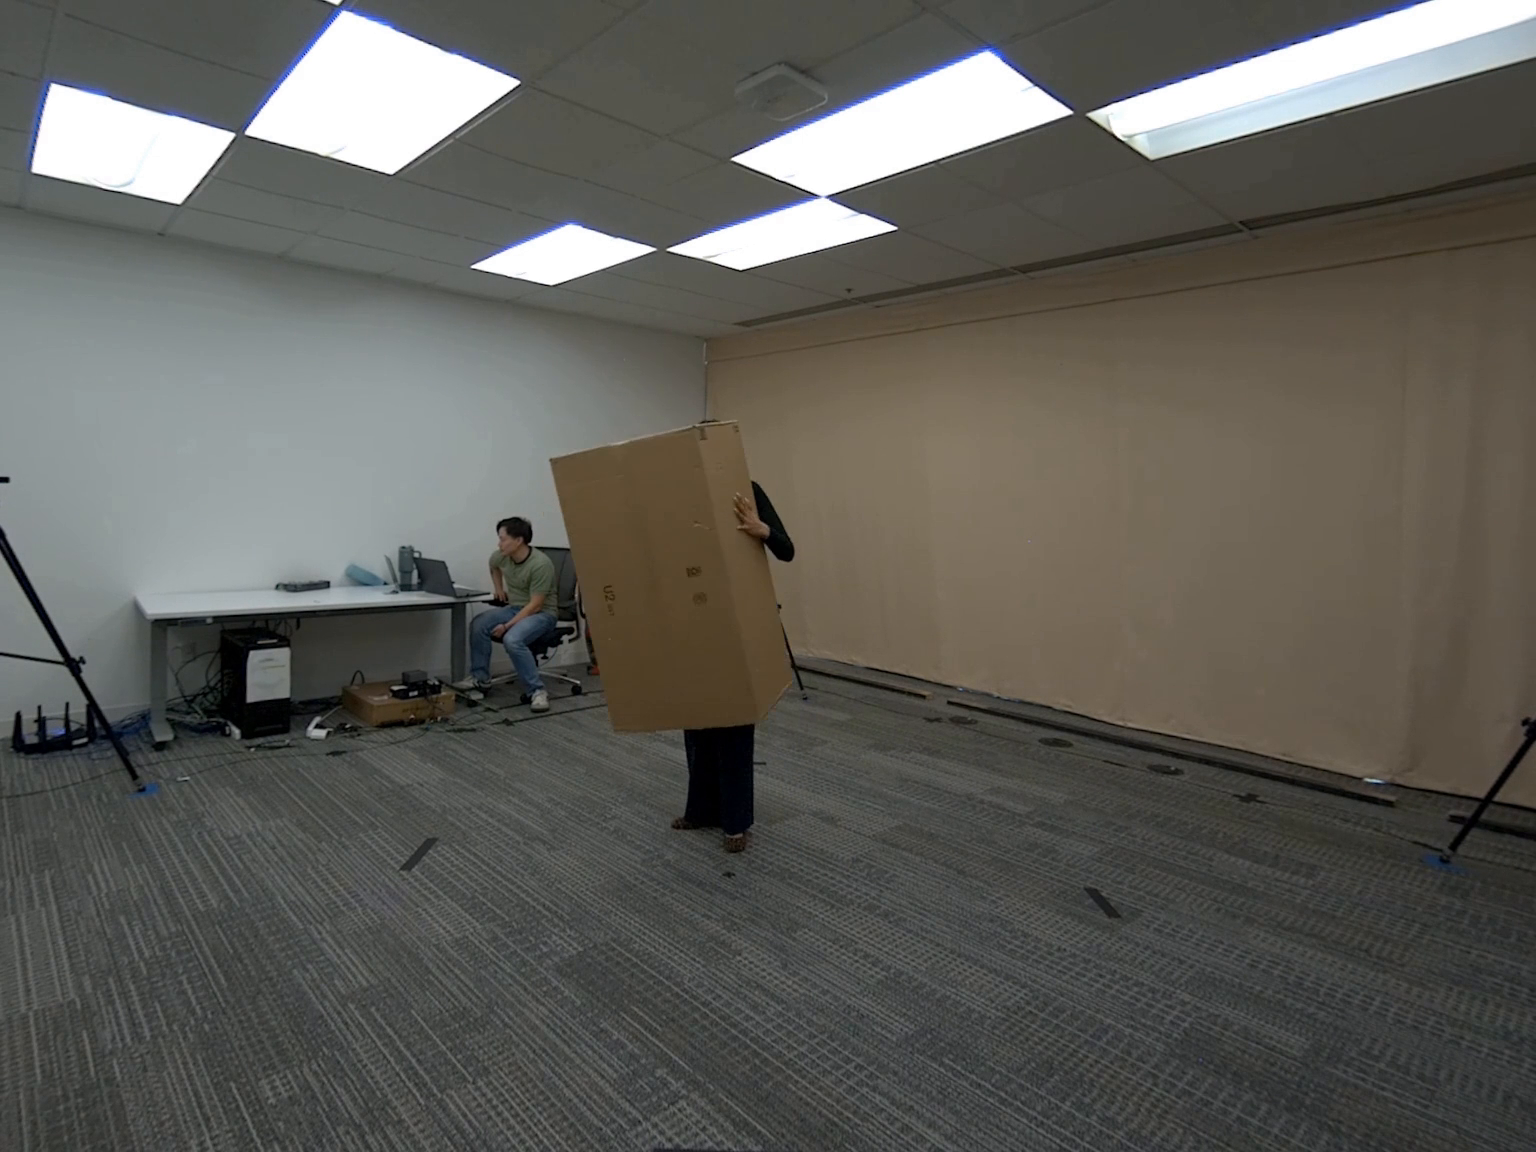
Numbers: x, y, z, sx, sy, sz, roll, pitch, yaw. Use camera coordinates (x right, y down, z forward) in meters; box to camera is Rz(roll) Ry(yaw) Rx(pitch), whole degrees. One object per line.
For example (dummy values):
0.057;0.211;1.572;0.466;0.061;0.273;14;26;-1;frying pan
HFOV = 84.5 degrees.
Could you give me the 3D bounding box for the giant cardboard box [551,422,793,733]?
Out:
-0.339;-0.001;3.092;0.585;1.020;0.423;-9;7;21;giant cardboard box
